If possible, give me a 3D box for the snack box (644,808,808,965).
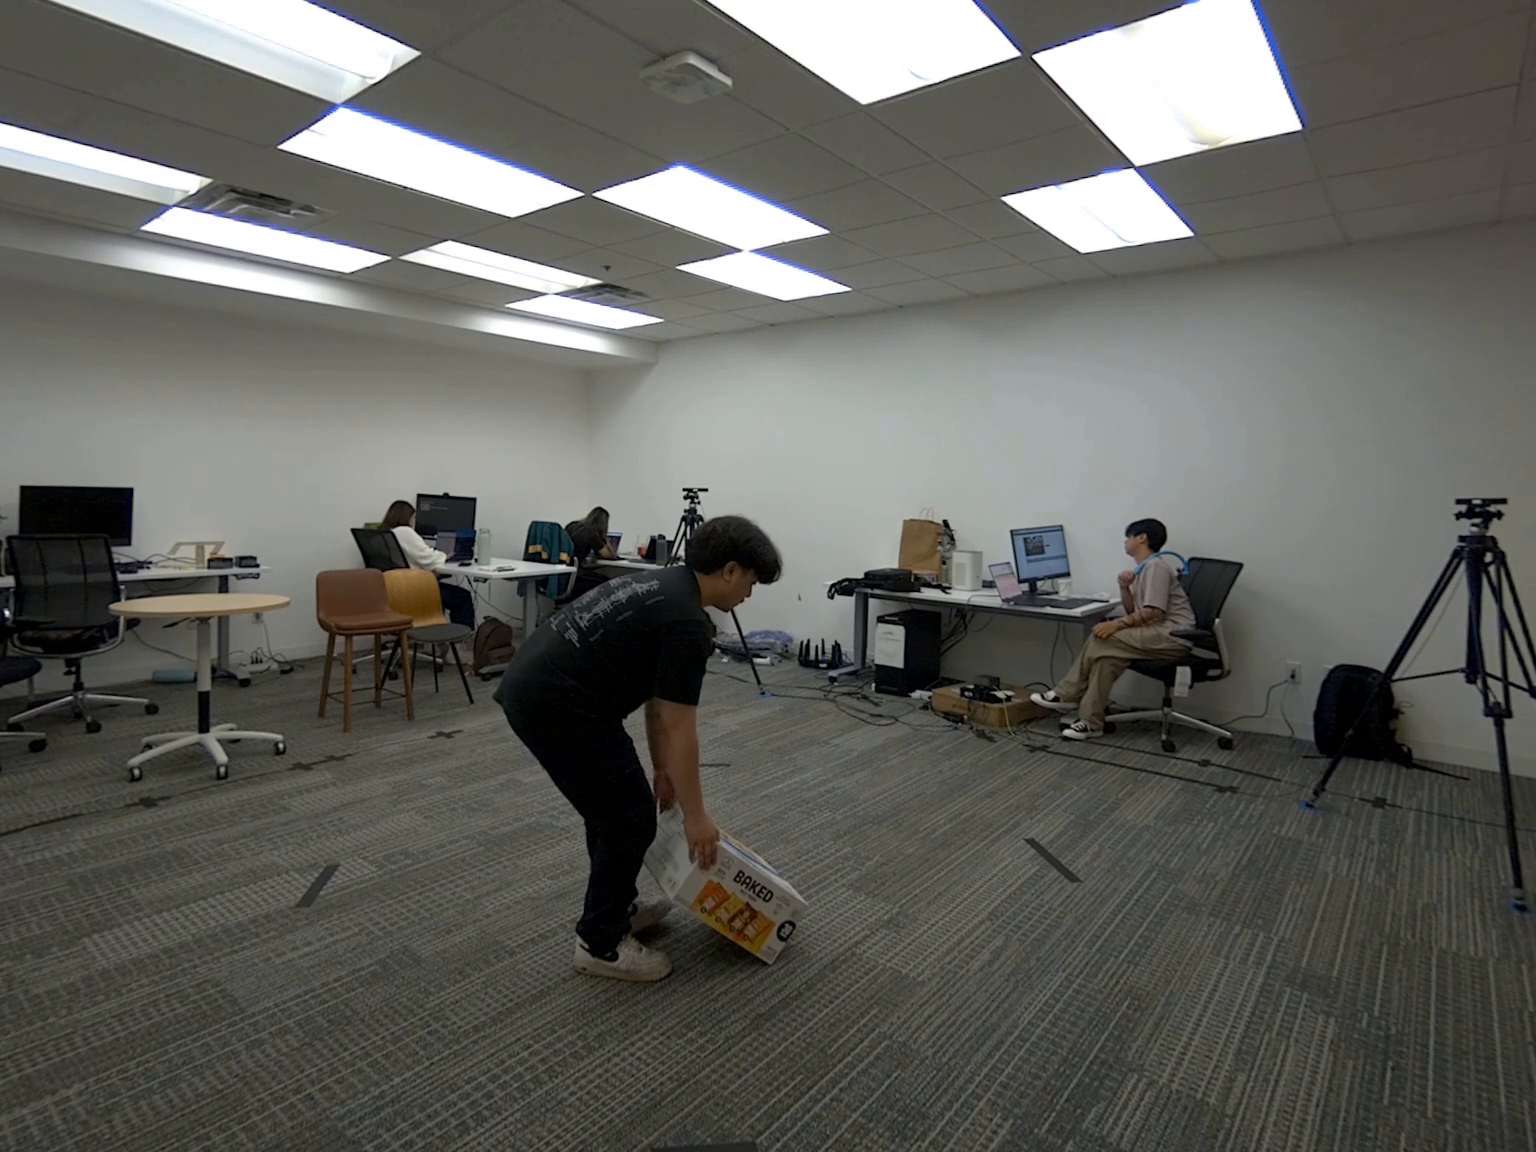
[{"bbox_3d":[-0.150,0.922,2.589,0.394,0.206,0.349,41,-11,-22],"label":"snack box"}]
